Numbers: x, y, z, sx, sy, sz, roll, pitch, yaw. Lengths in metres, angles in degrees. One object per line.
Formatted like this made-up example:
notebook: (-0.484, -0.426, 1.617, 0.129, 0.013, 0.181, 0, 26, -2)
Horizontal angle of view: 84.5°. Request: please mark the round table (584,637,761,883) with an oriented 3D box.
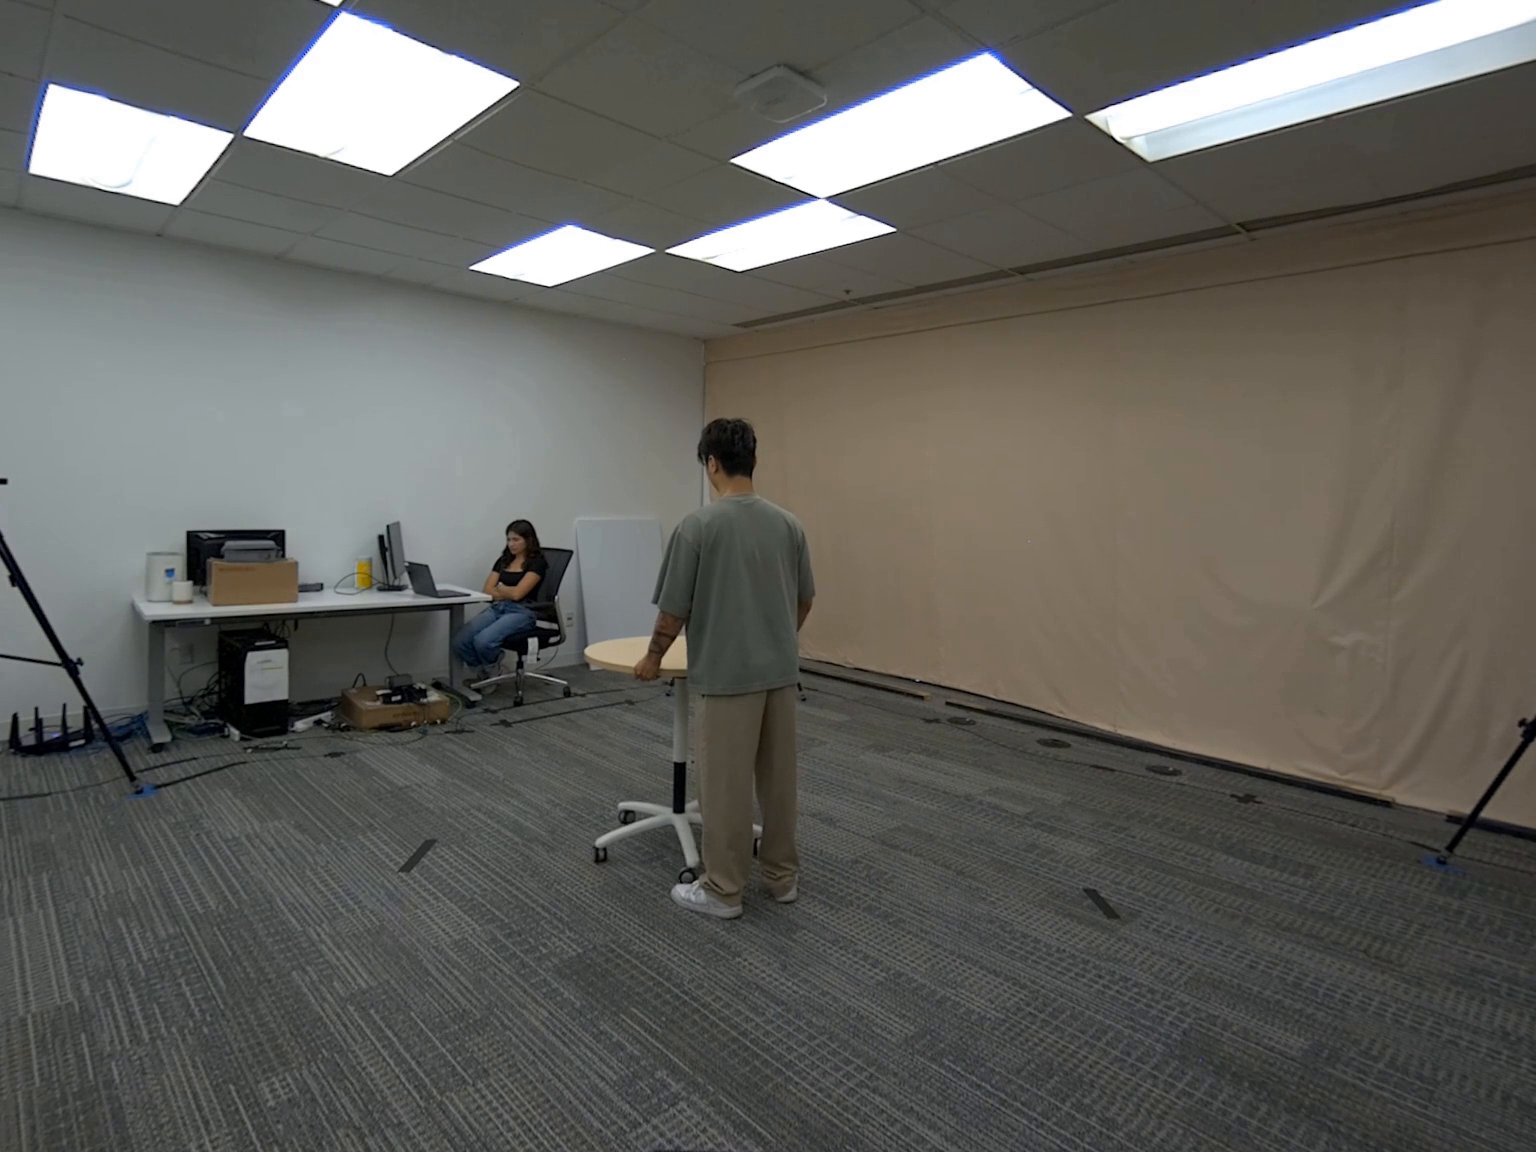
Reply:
round table: (-0.357, 0.688, 3.330, 0.784, 0.785, 0.787, 1, 3, -1)
